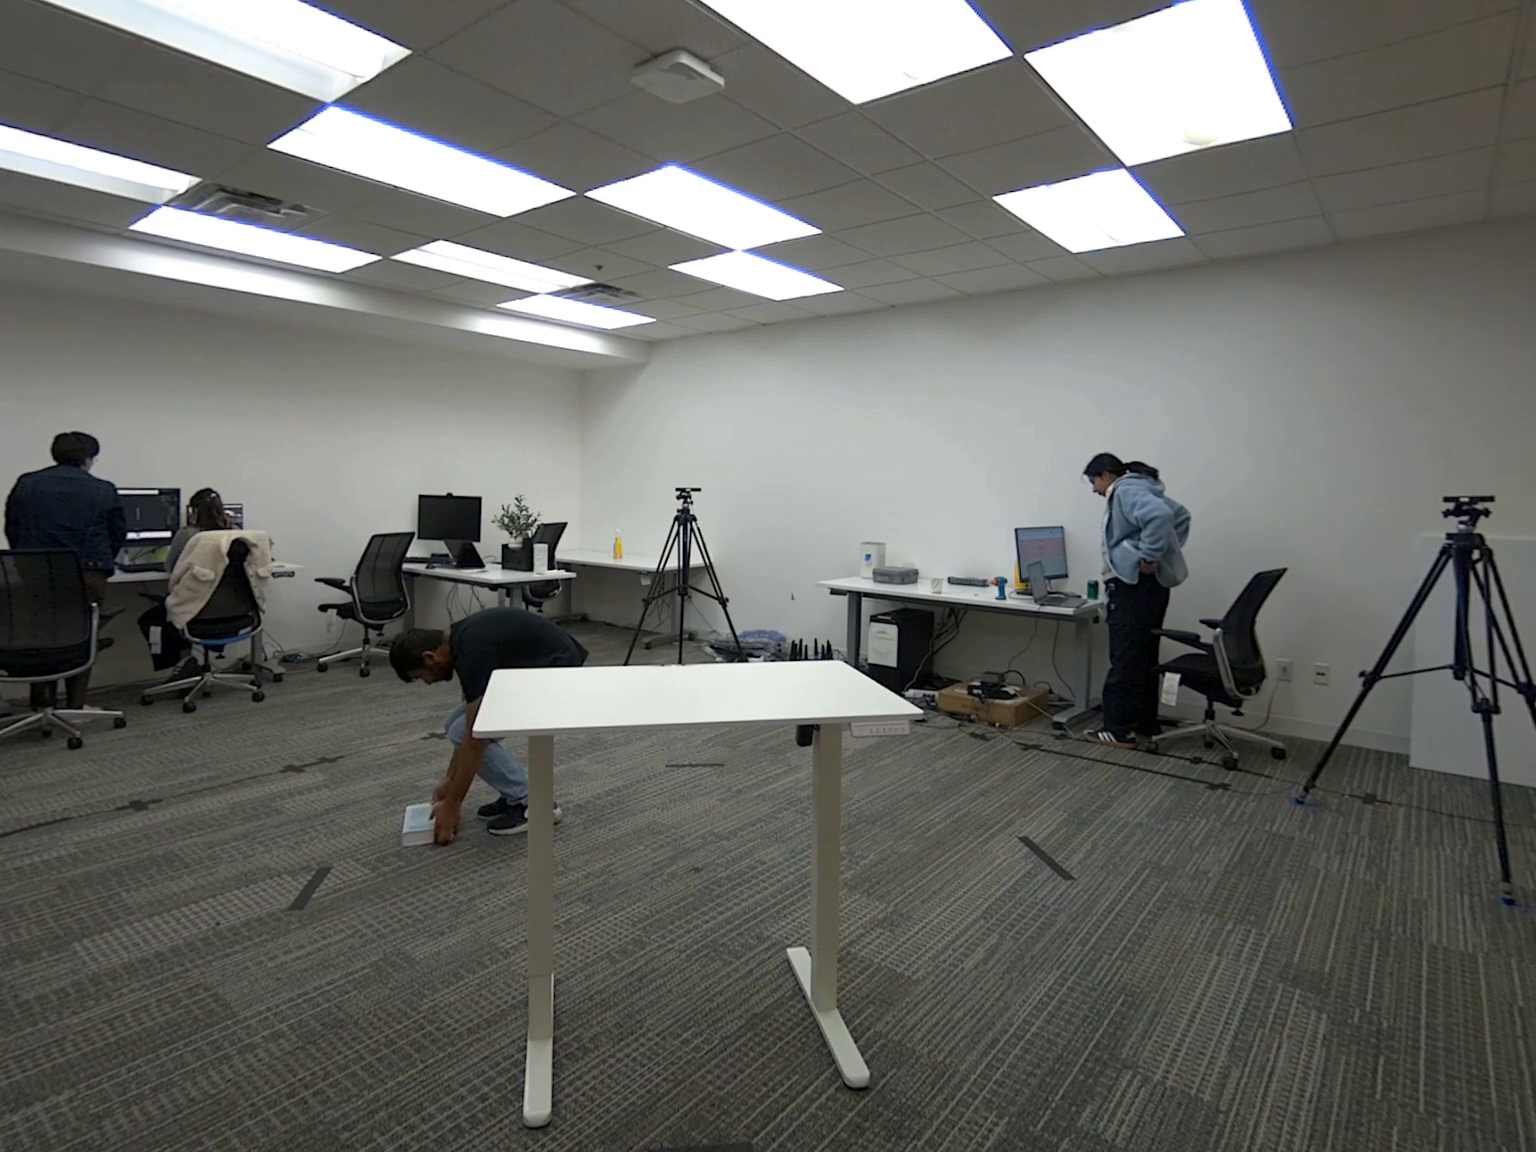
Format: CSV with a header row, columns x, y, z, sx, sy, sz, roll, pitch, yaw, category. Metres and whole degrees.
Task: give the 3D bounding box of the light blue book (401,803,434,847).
x,y,z,sx,sy,sz,roll,pitch,yaw,category
-1.384,0.985,3.422,0.188,0.058,0.267,-5,10,-18,light blue book
